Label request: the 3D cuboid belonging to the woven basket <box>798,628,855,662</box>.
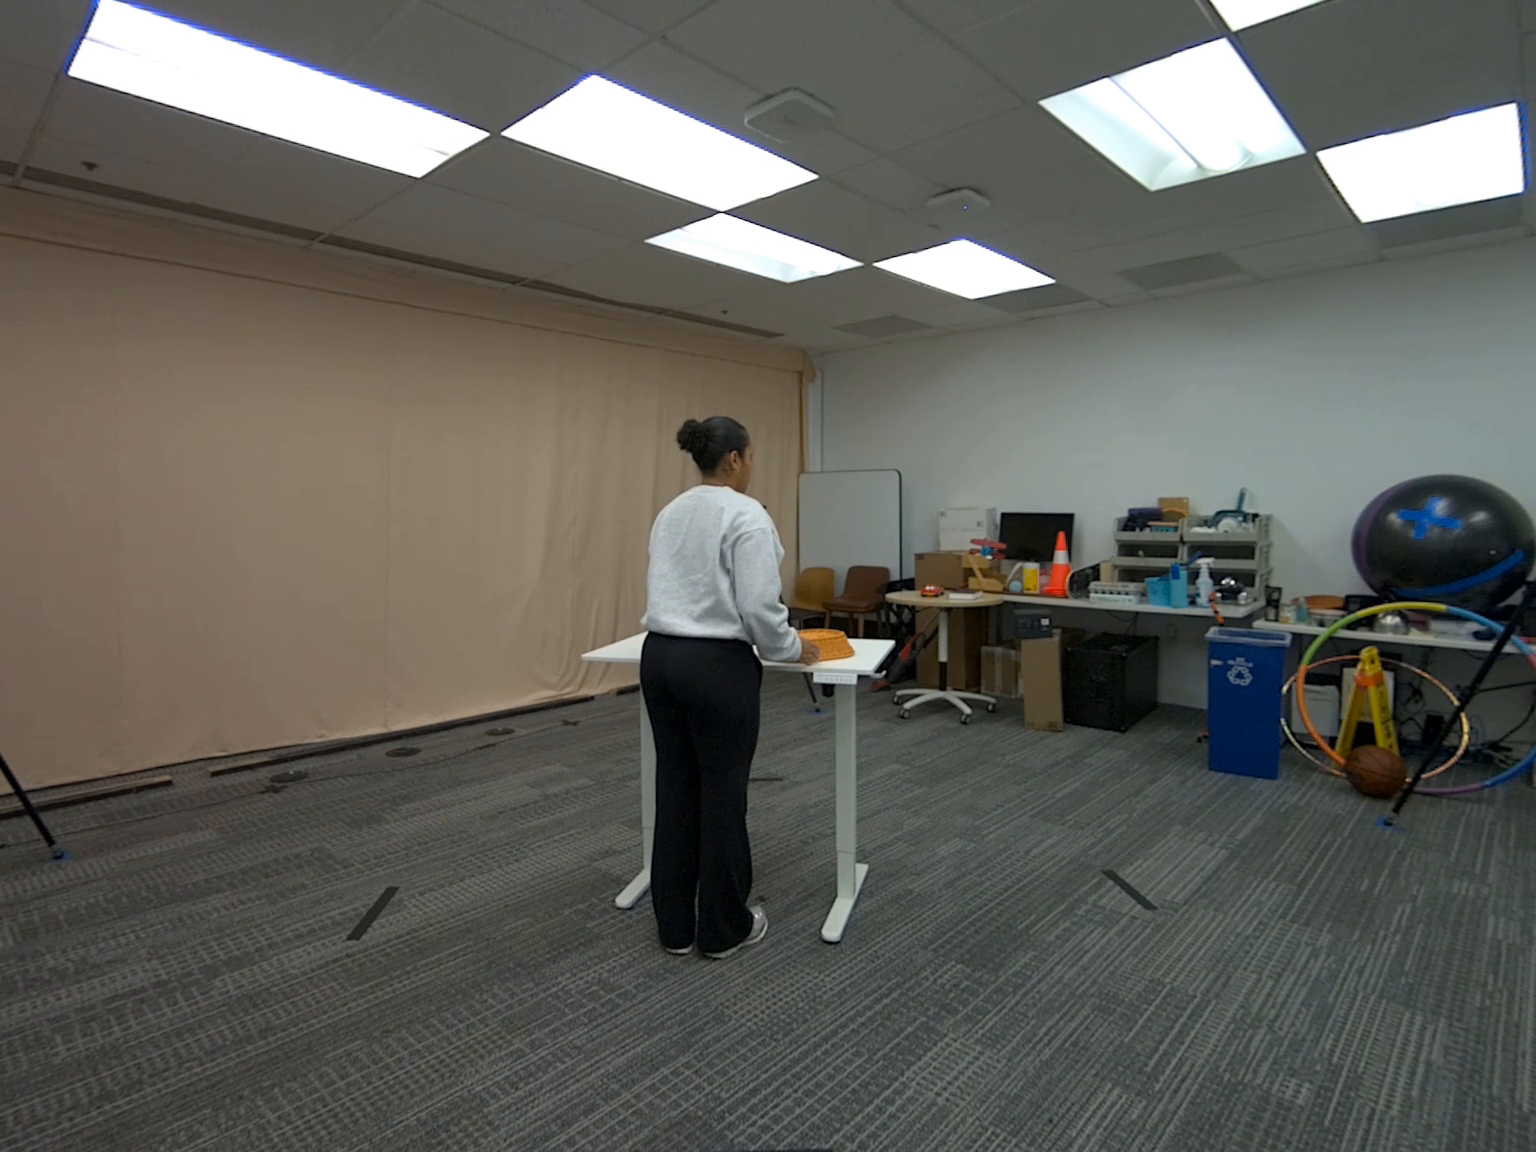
[{"bbox_3d":[0.130,0.234,2.845,0.341,0.073,0.260,-5,5,-33],"label":"woven basket"}]
